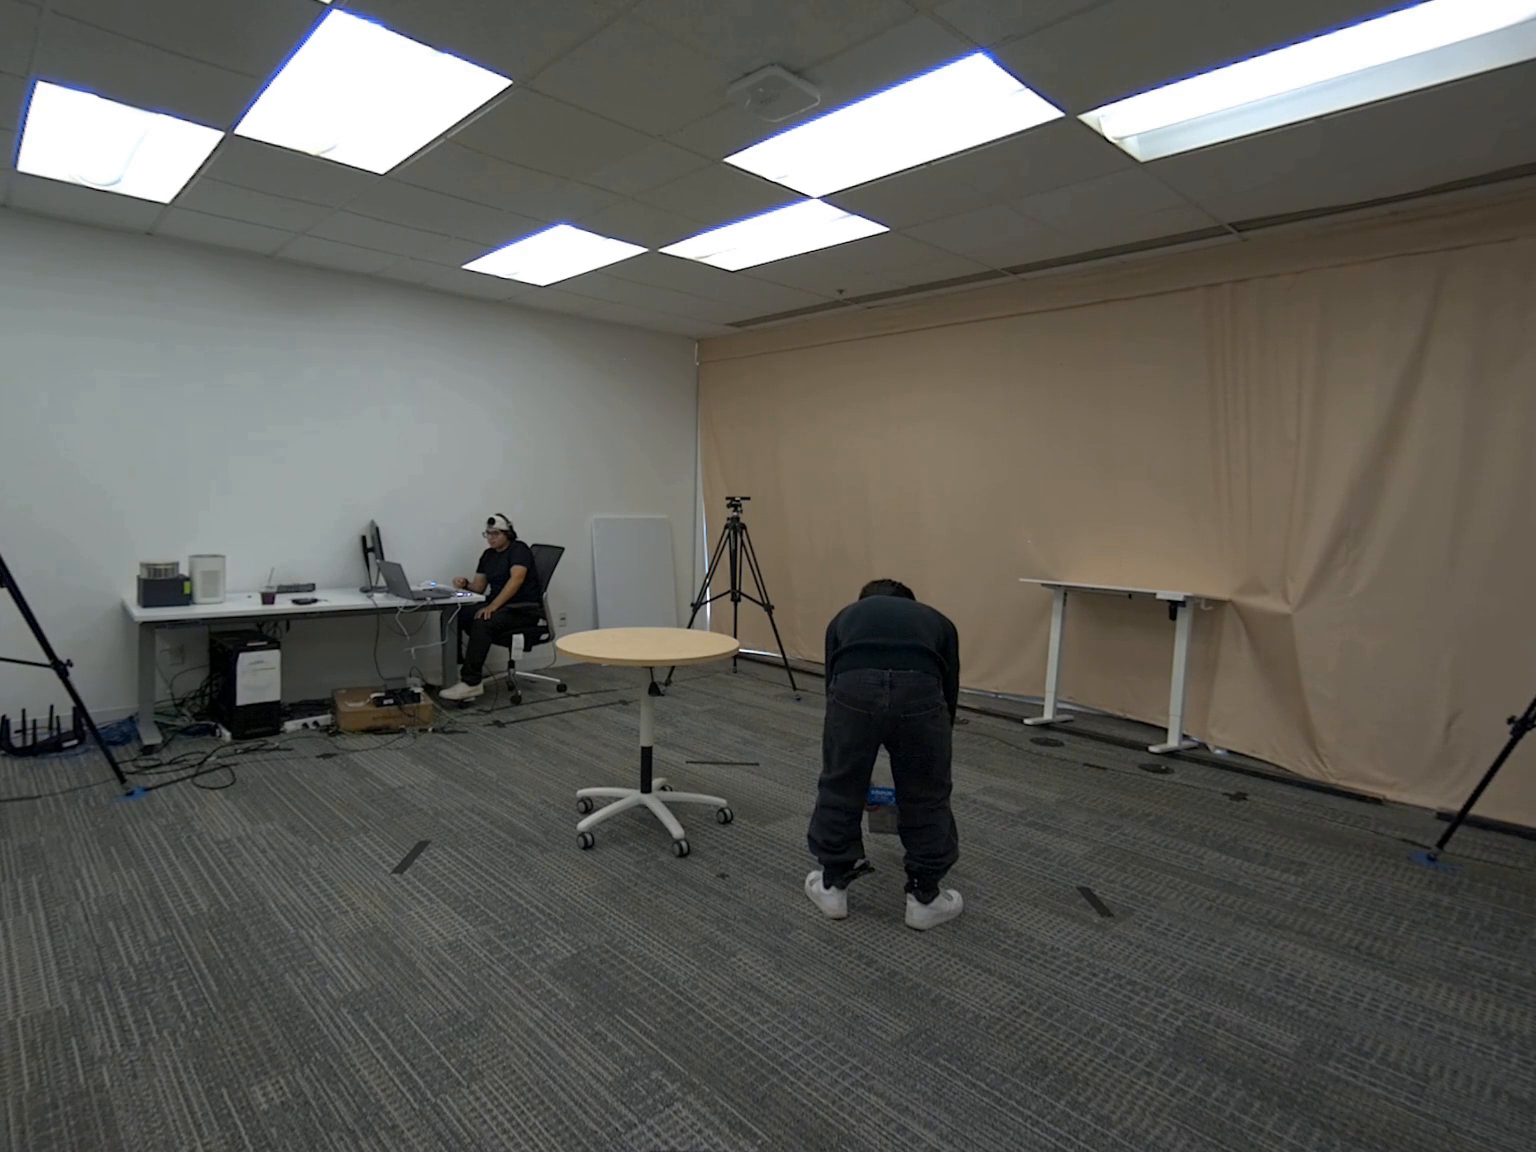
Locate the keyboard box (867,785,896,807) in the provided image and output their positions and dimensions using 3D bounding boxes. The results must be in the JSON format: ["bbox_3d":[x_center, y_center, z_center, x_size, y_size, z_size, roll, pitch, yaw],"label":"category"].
[{"bbox_3d":[0.457,0.888,3.146,0.177,0.060,0.426,3,-30,10],"label":"keyboard box"}]
